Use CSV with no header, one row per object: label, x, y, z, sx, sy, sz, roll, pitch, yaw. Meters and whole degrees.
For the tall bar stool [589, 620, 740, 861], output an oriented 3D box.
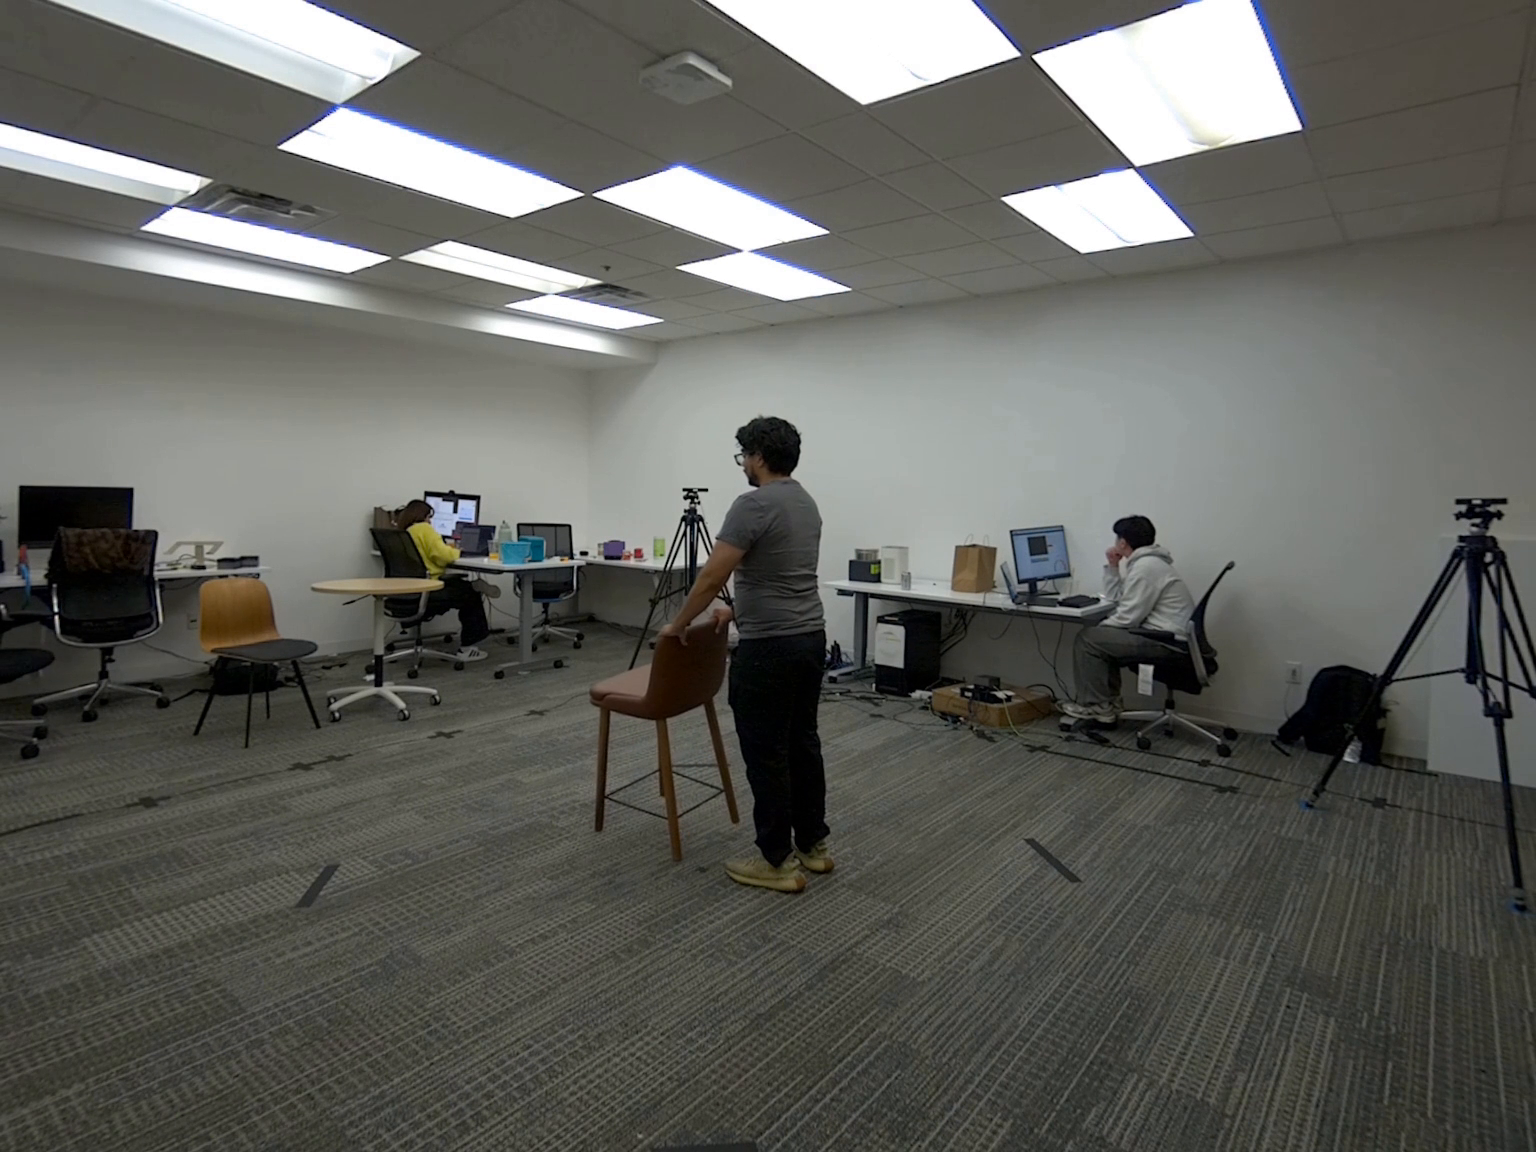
tall bar stool,-0.429,0.586,3.389,0.484,0.882,0.445,6,12,39
